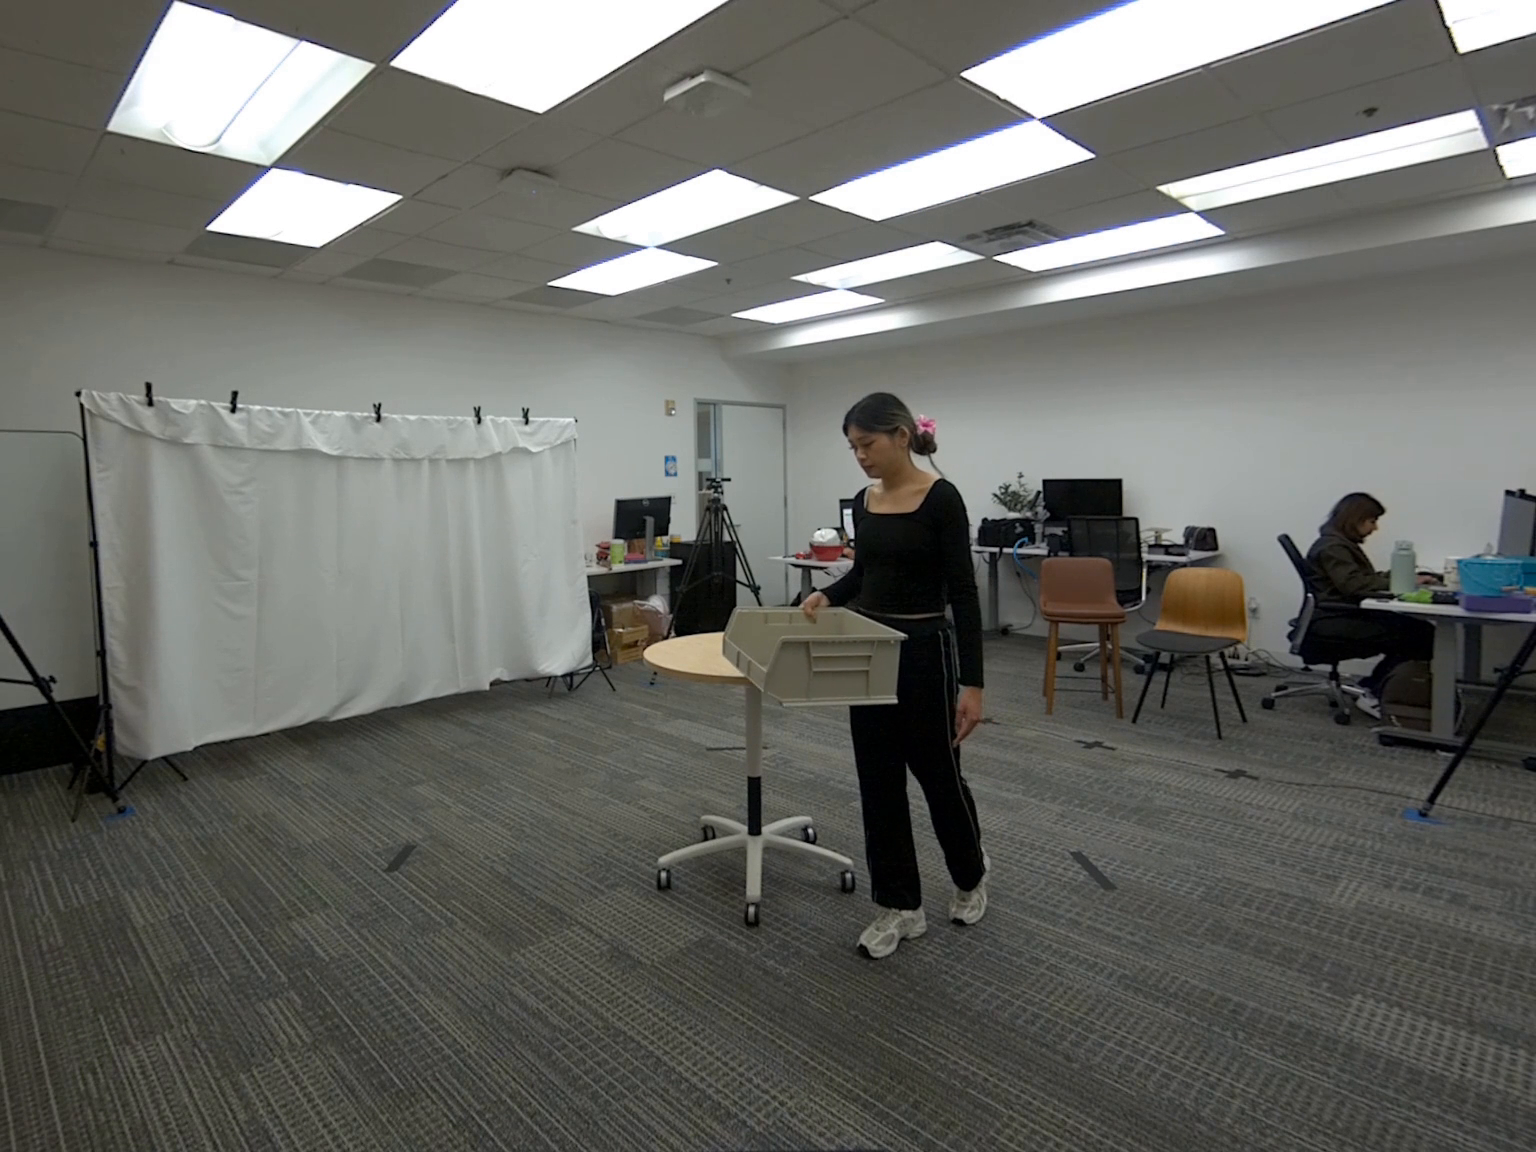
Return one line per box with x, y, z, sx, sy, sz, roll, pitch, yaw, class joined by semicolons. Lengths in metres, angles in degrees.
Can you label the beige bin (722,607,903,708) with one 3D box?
0.108;0.212;2.335;0.371;0.188;0.431;2;6;-17;beige bin
